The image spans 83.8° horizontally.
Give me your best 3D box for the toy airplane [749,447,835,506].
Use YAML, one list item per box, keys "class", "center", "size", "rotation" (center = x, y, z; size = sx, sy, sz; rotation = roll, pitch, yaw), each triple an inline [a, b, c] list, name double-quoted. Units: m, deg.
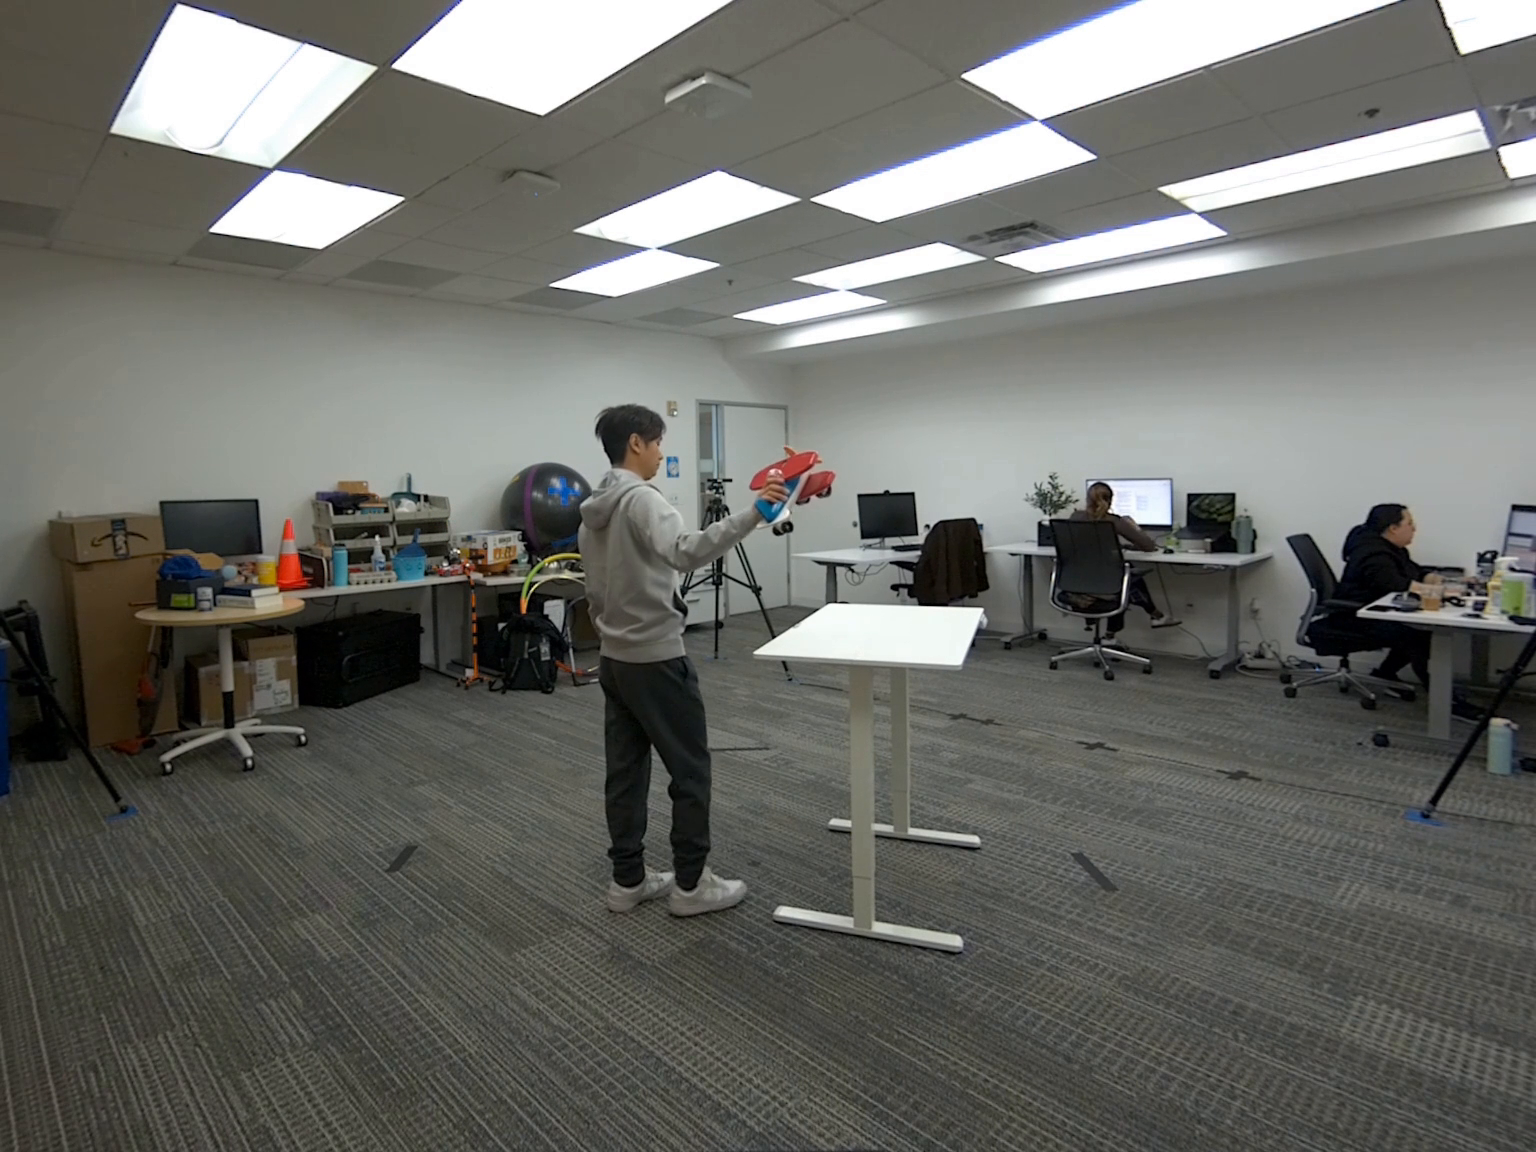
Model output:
- class: "toy airplane"
  center: [0.081, -0.239, 2.386]
  size: [0.253, 0.153, 0.262]
  rotation: [-27, 17, 19]
